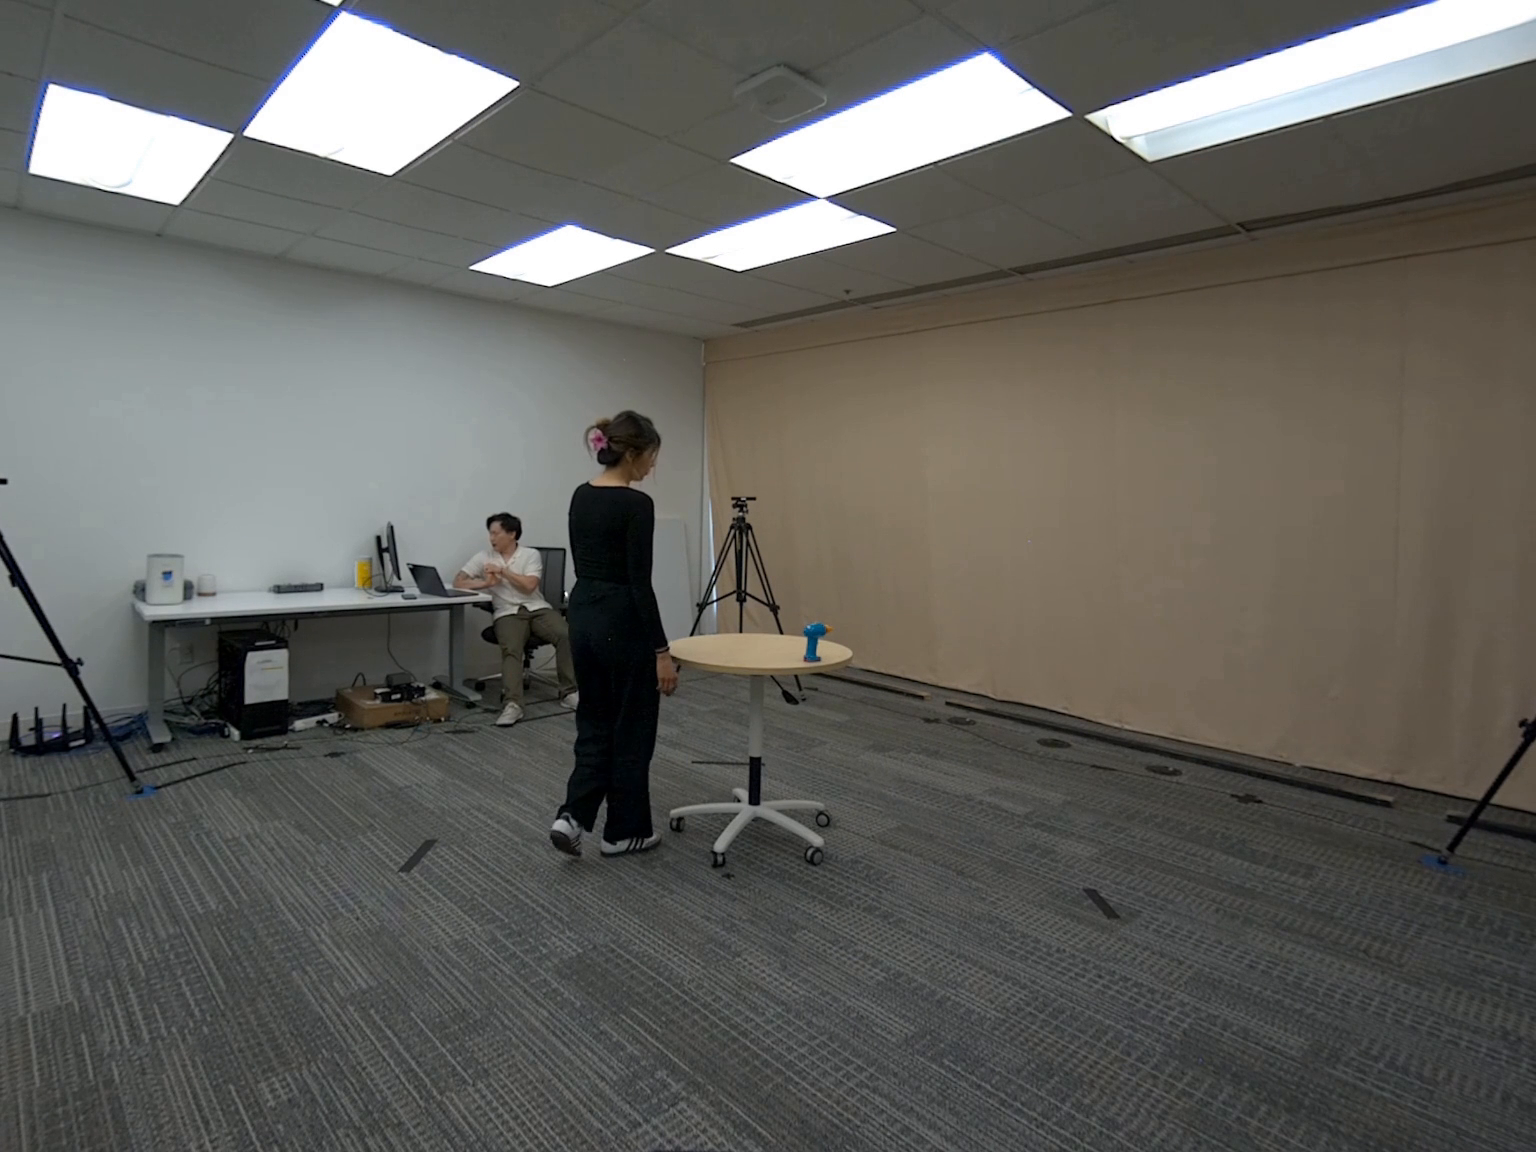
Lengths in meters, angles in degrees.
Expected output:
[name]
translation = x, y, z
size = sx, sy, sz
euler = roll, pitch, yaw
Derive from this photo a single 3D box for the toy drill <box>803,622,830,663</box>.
[toy drill]
translation = 0.188, 0.247, 3.216
size = 0.063, 0.145, 0.166
euler = 6, 8, 43
